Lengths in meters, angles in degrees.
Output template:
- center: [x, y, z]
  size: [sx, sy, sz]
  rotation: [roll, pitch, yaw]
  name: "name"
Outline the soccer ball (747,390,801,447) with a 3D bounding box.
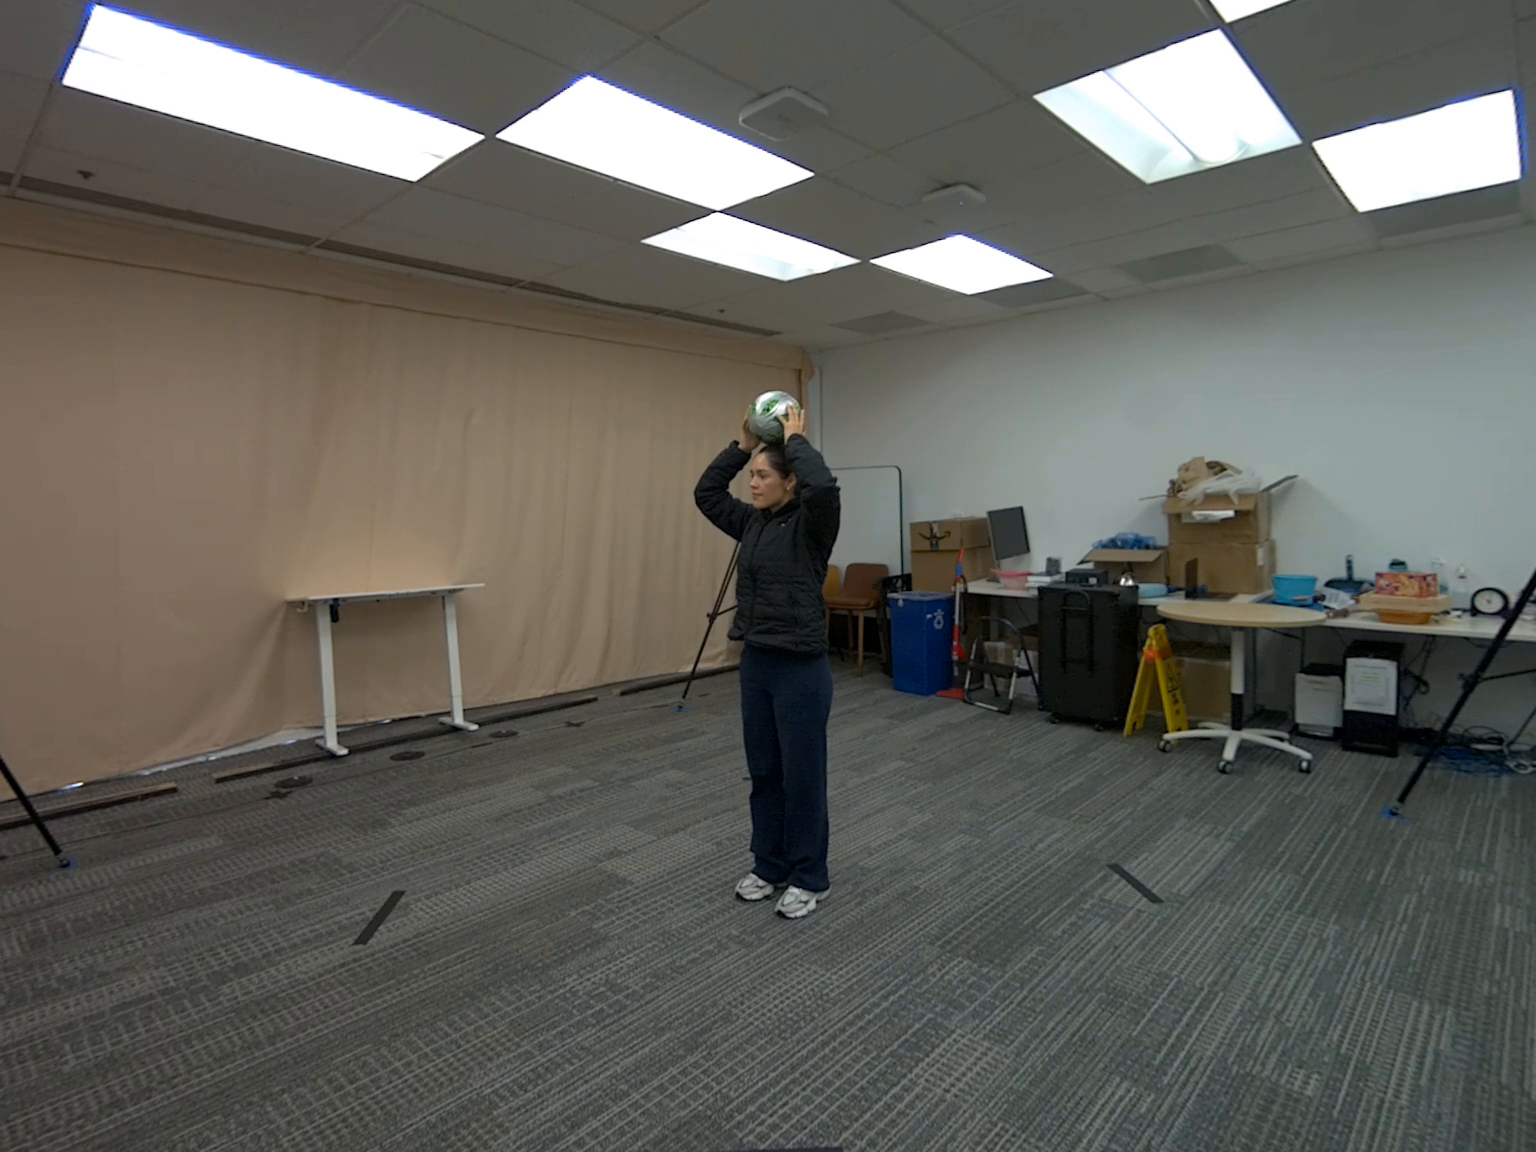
- center: [0.027, -0.541, 2.908]
  size: [0.187, 0.187, 0.188]
  rotation: [-1, 4, -2]
  name: "soccer ball"
